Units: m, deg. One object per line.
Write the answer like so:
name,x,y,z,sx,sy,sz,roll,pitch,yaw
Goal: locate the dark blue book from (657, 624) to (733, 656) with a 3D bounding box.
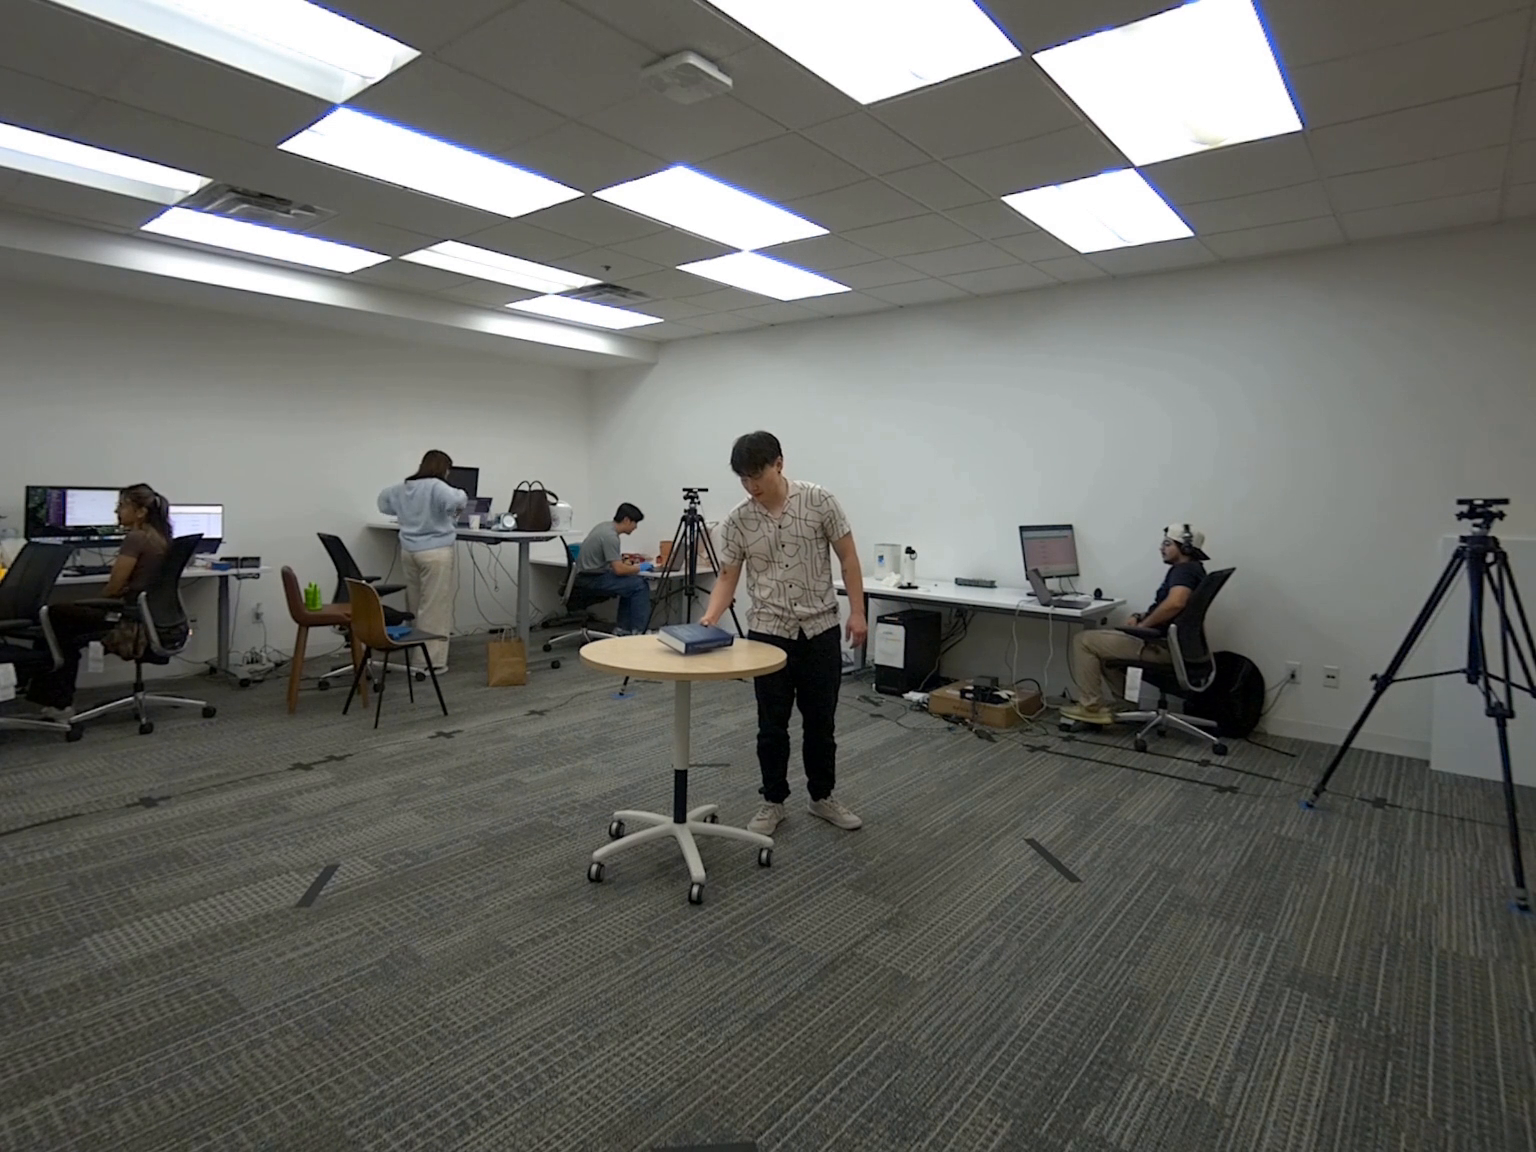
dark blue book,-0.278,0.232,3.173,0.237,0.045,0.170,-2,16,-41
